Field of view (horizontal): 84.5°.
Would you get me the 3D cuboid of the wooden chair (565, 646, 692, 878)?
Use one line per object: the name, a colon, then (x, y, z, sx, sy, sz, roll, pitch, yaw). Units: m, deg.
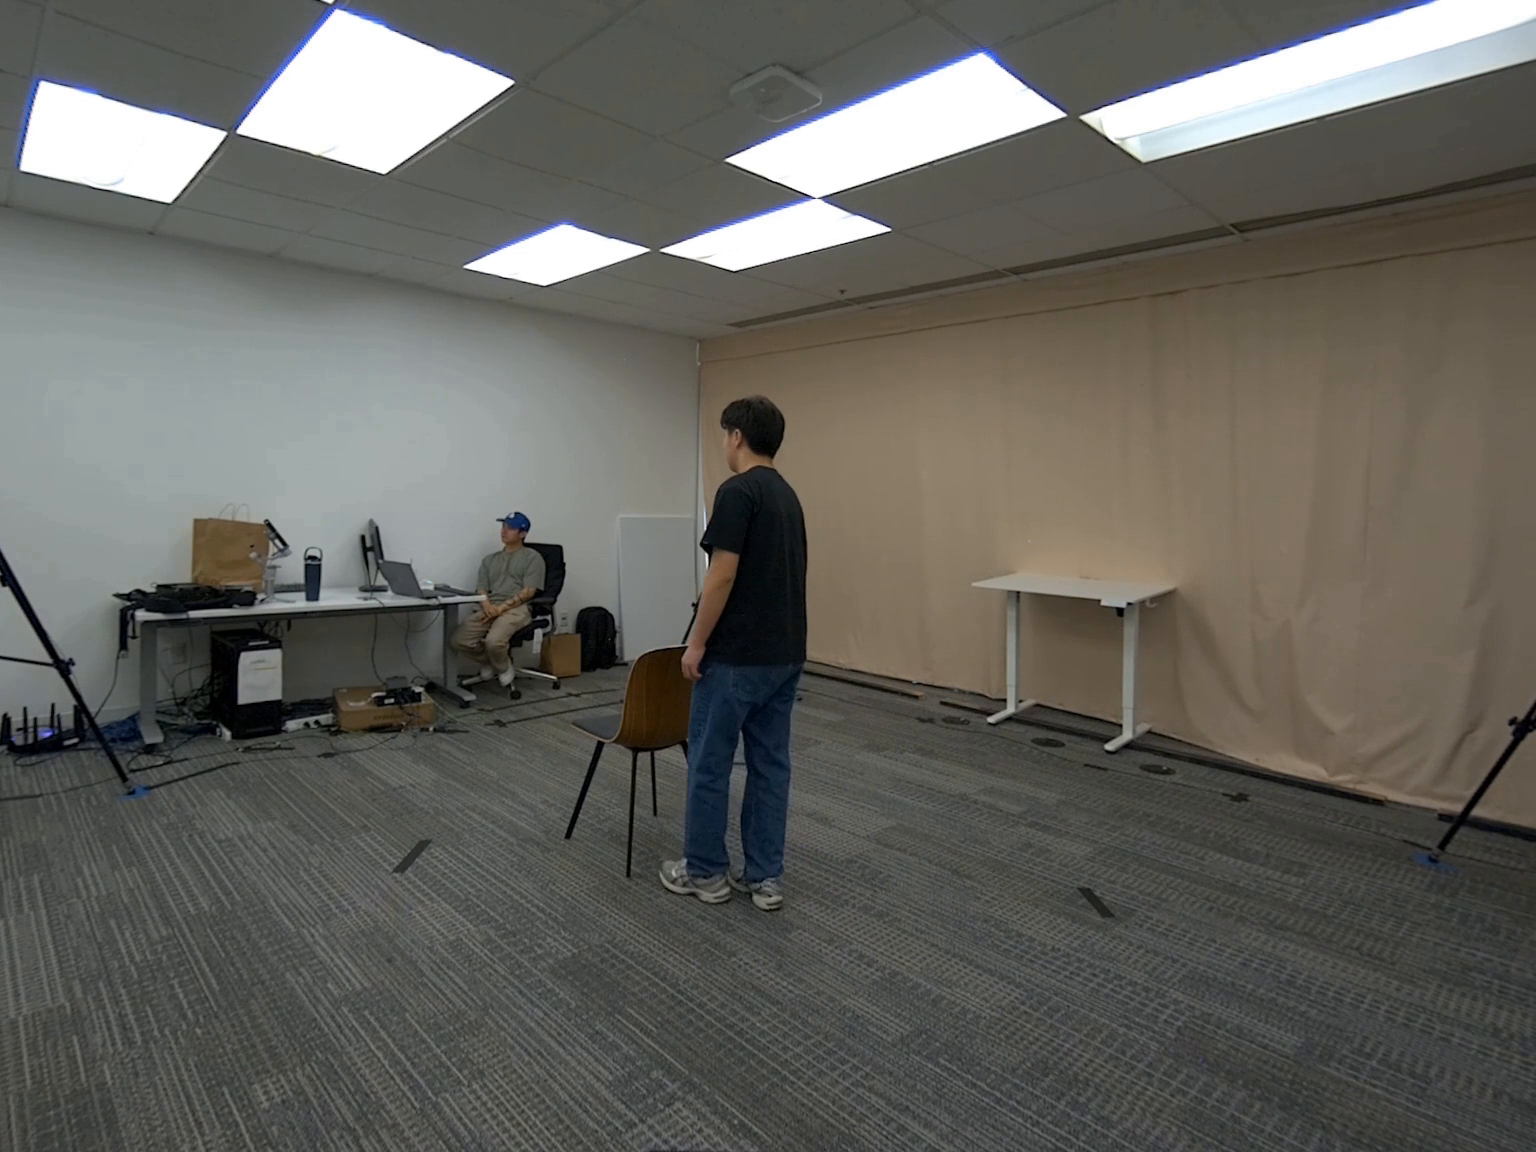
wooden chair: (-0.500, 0.648, 3.357, 0.467, 0.873, 0.537, -2, 9, -42)
